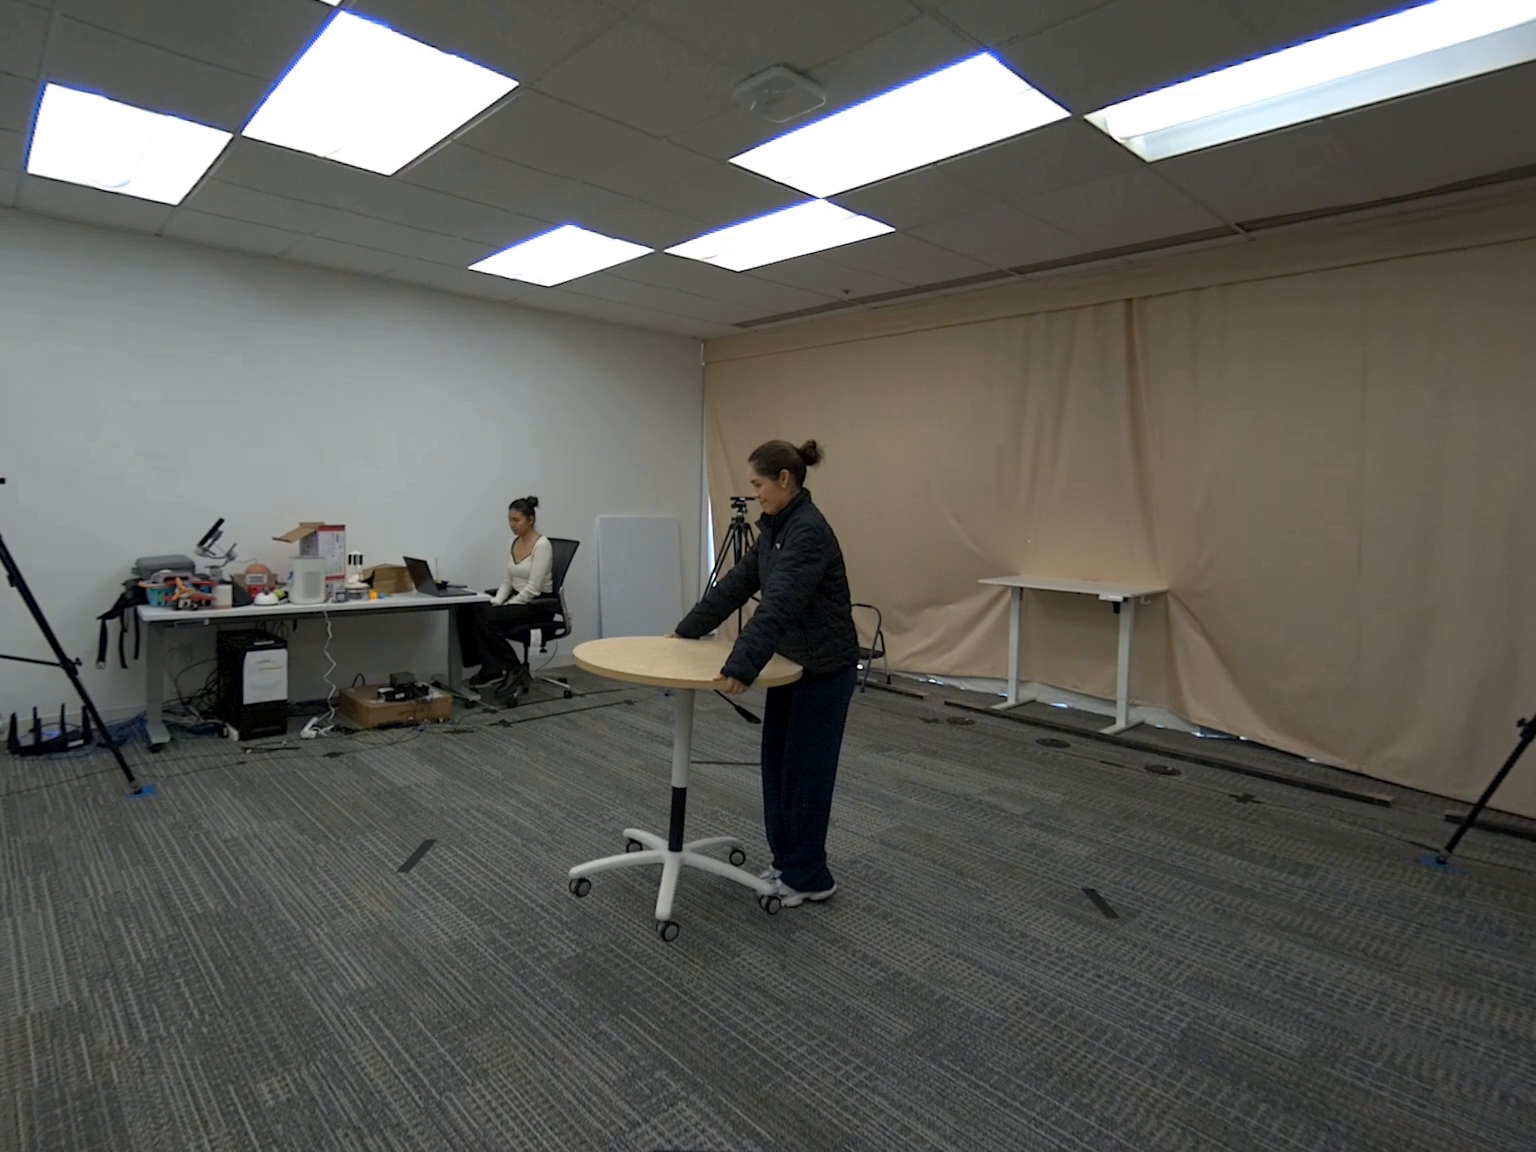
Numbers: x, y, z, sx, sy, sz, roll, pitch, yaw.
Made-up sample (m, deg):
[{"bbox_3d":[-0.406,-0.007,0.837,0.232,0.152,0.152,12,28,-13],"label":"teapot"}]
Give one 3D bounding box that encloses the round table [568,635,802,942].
[{"bbox_3d":[-0.288,0.665,2.833,0.784,0.785,0.787,4,3,-2],"label":"round table"}]
